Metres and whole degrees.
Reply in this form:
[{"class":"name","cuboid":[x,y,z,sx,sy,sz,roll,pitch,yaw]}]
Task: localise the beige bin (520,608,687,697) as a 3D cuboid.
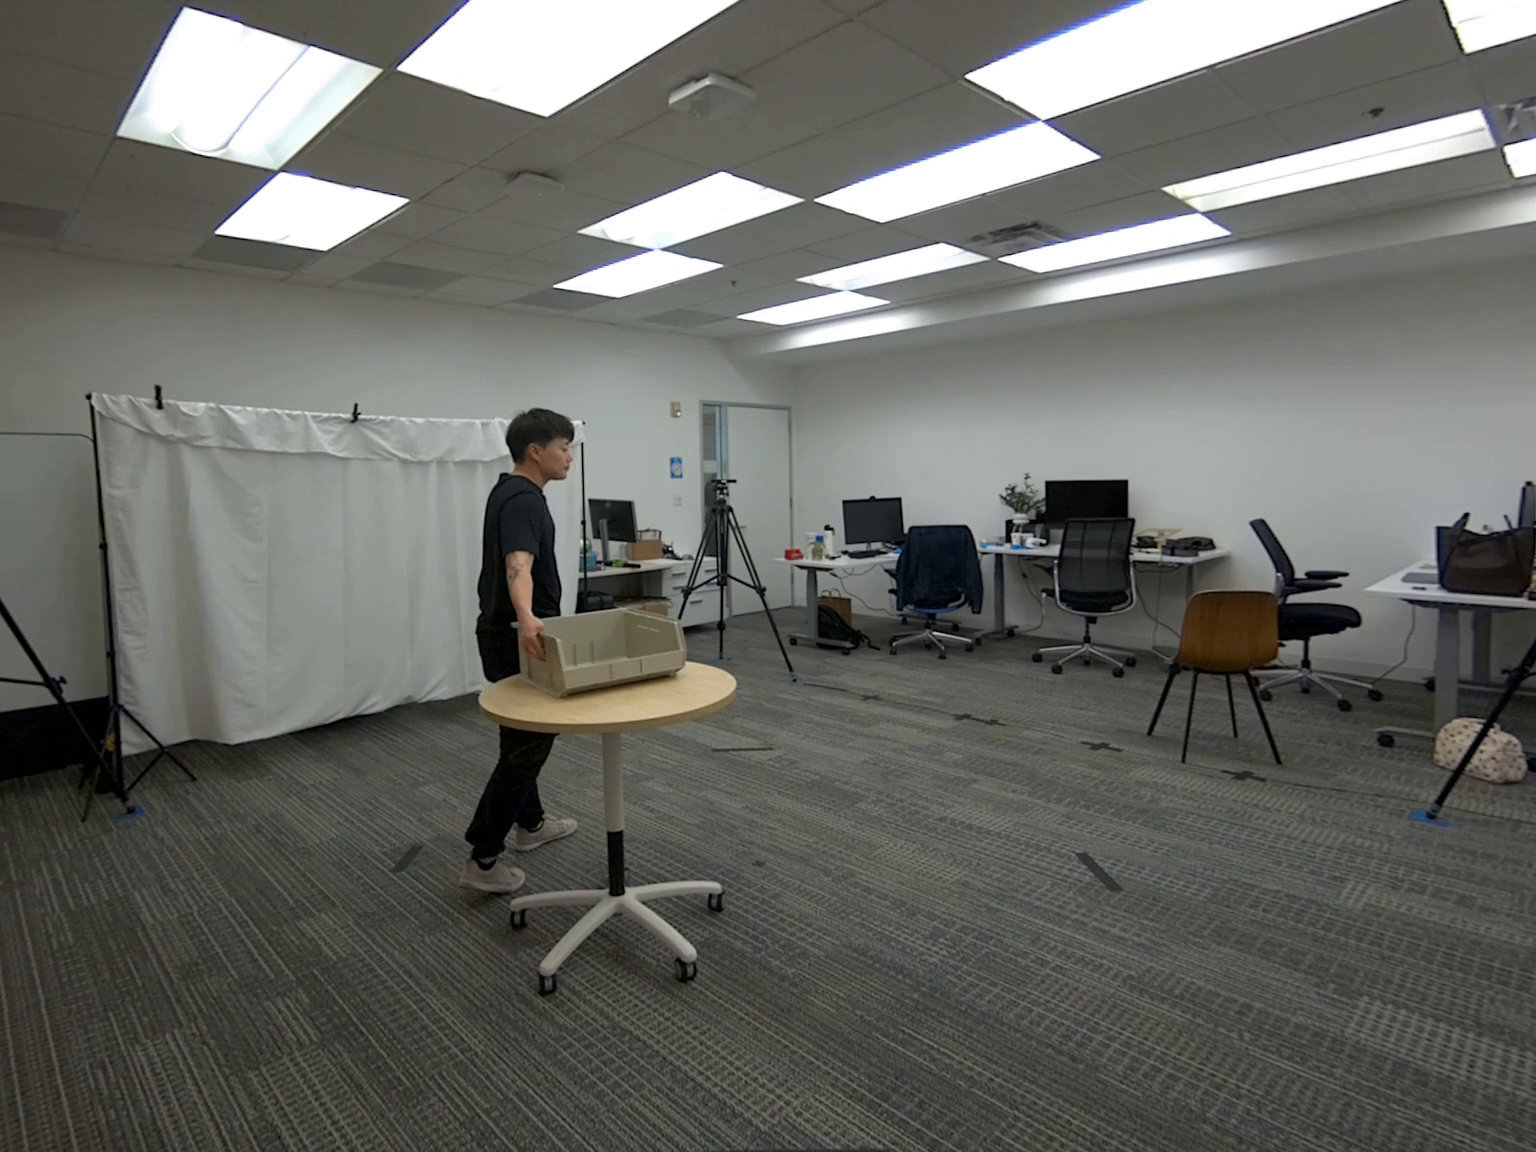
[{"class":"beige bin","cuboid":[-0.526,0.234,2.679,0.412,0.188,0.388,-7,7,-36]}]
